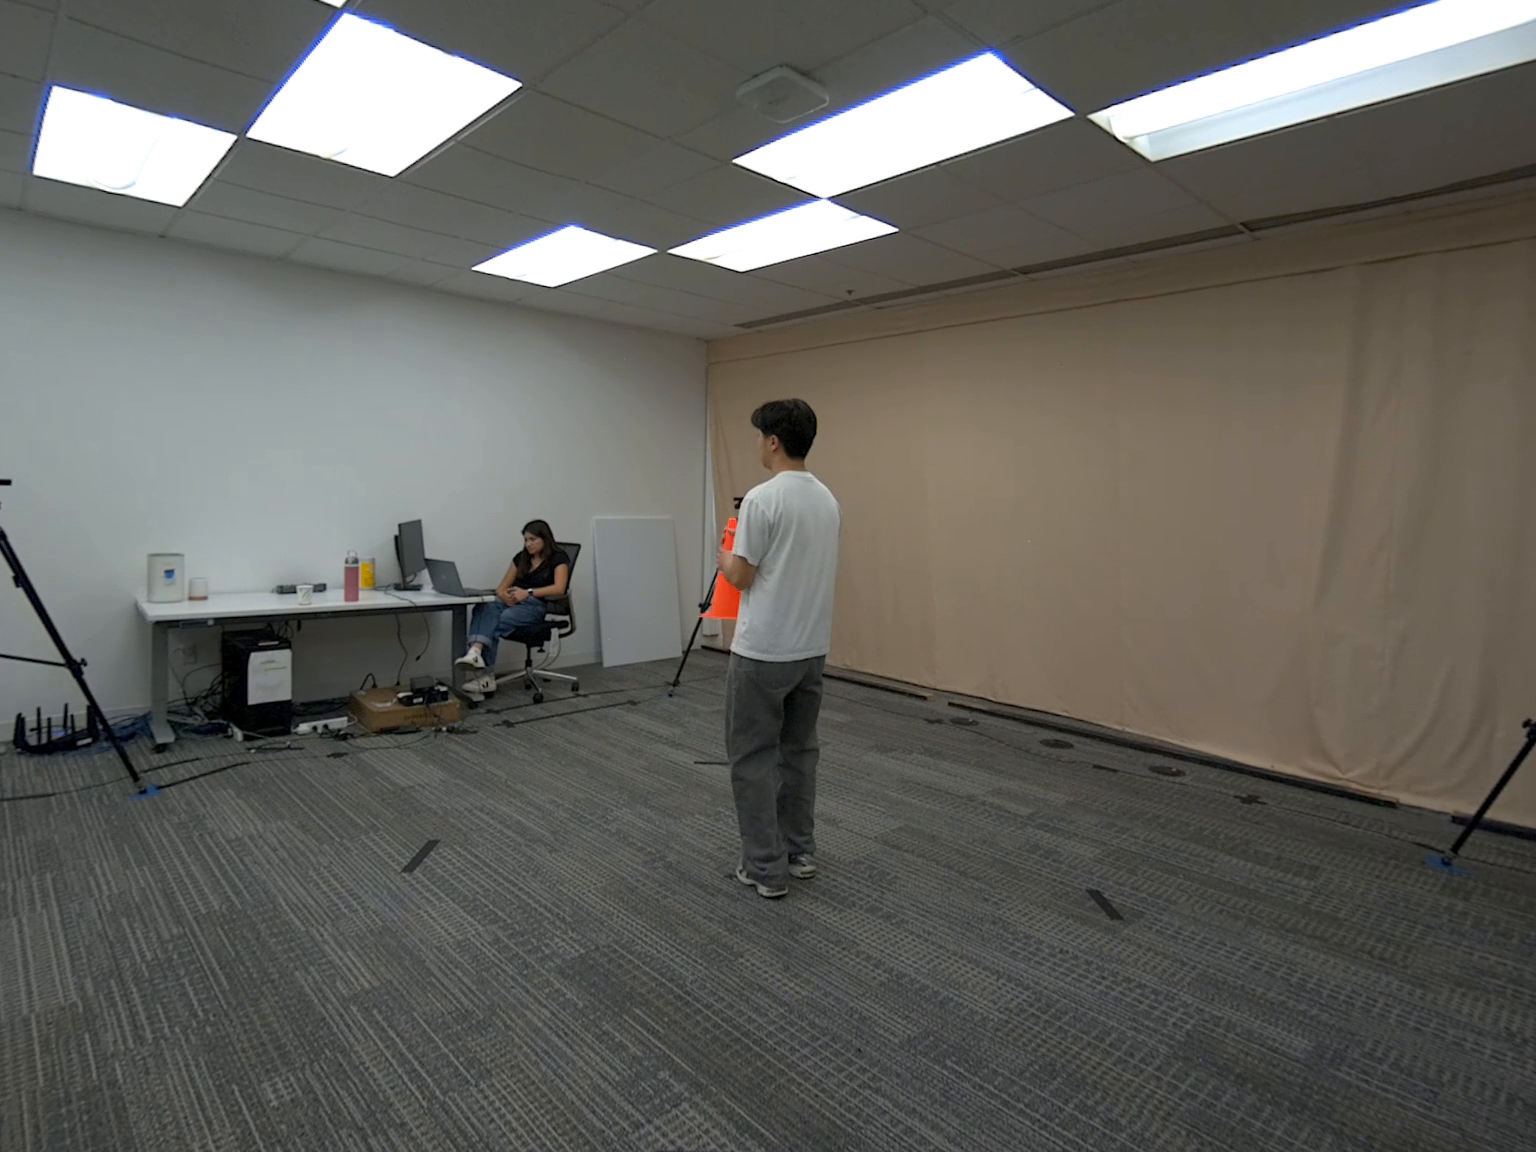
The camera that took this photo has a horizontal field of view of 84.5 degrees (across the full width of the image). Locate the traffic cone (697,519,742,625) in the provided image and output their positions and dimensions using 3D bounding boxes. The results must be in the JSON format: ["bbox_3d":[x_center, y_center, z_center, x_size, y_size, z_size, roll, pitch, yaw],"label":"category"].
[{"bbox_3d":[-0.129,-0.021,3.291,0.208,0.383,0.200,5,4,21],"label":"traffic cone"}]
